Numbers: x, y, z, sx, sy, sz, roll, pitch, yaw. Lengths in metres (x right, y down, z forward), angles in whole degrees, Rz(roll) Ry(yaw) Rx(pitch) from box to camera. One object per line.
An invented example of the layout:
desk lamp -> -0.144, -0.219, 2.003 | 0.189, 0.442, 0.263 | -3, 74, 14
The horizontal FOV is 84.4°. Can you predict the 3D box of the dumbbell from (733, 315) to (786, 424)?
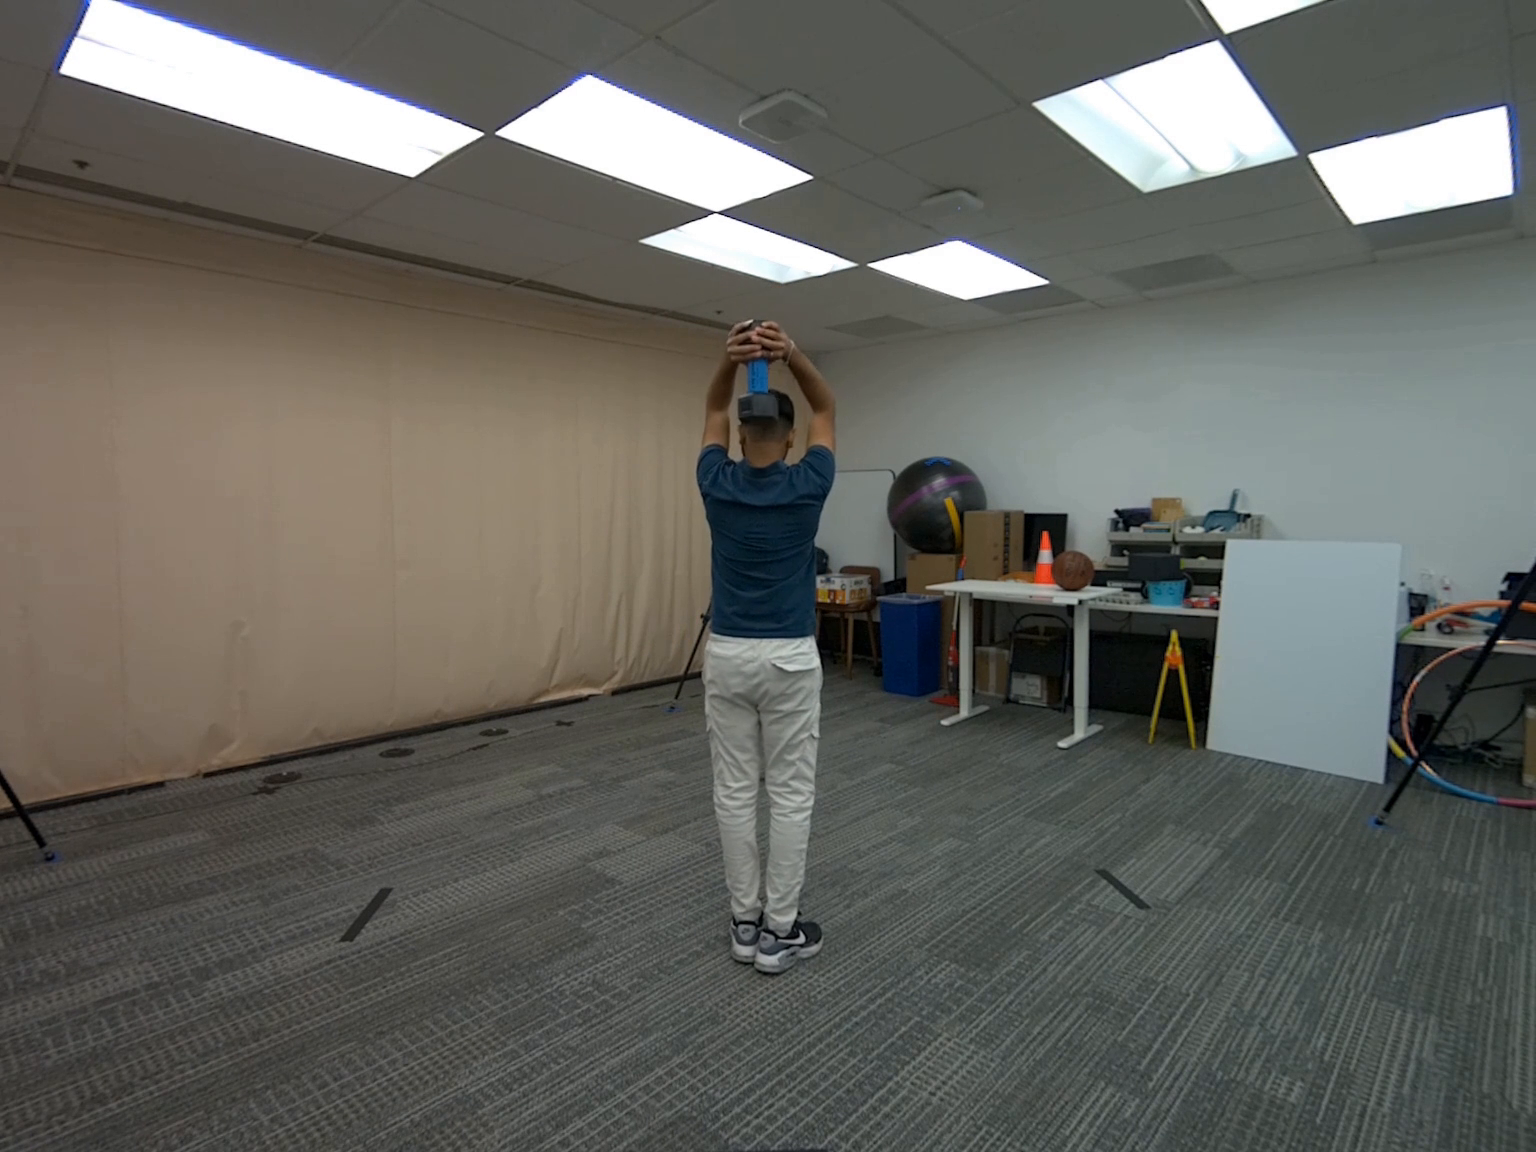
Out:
dumbbell -> -0.024, -0.590, 2.454 | 0.110, 0.294, 0.121 | 3, -3, 14
